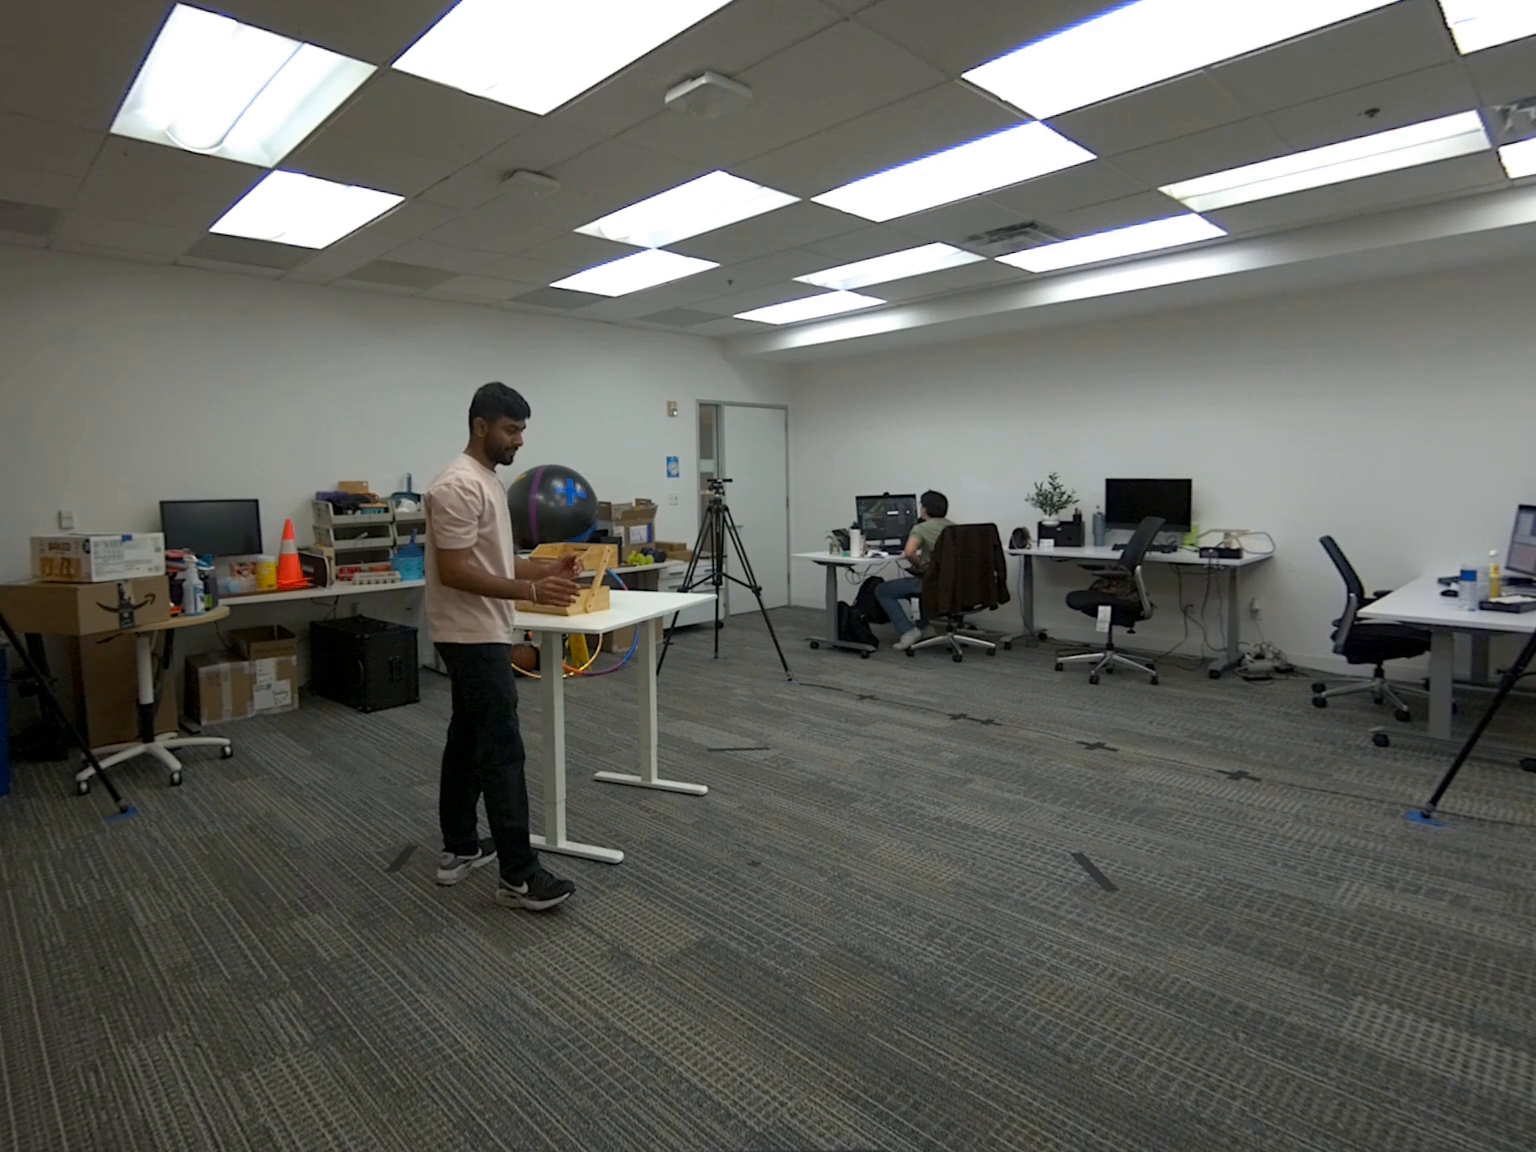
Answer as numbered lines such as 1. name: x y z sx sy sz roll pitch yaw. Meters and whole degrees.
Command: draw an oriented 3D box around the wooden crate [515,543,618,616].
1. wooden crate: -0.821 0.005 3.464 0.334 0.272 0.295 3 6 34
